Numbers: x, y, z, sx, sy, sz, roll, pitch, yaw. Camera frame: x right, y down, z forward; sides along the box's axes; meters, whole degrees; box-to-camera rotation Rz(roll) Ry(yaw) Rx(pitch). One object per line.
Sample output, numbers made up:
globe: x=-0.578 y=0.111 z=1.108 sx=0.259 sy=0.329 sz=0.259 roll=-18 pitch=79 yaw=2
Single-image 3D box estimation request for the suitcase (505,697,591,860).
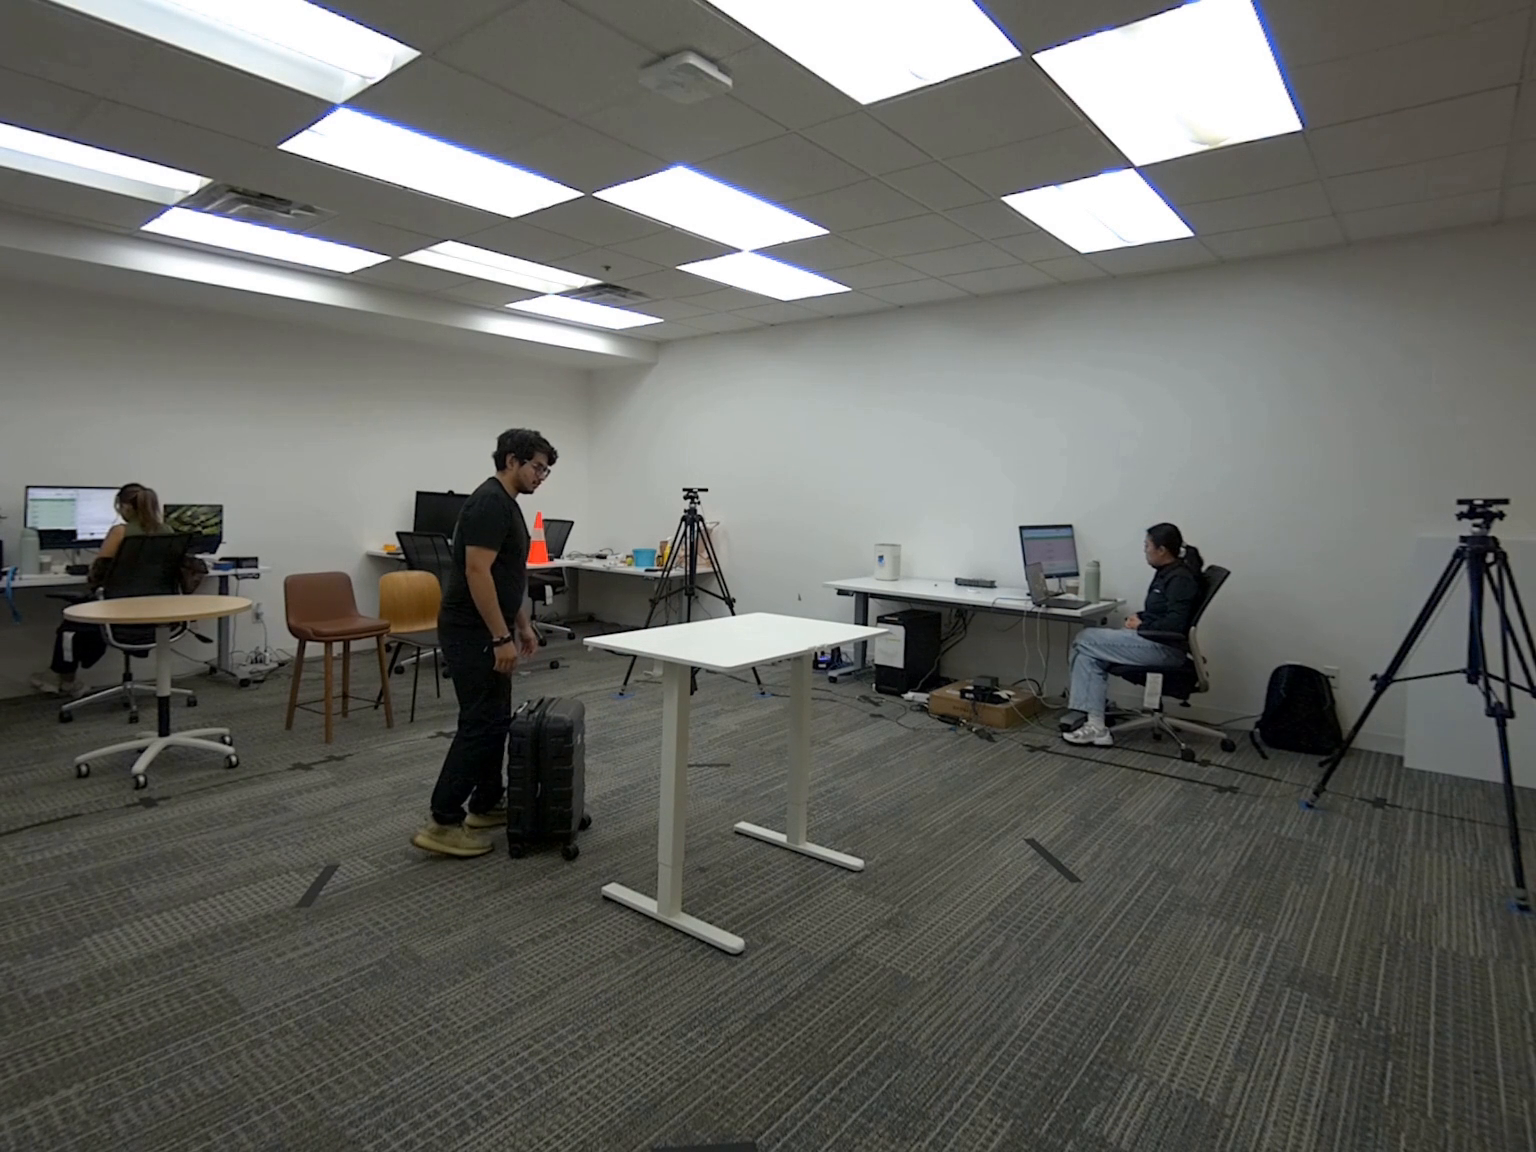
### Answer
suitcase: x=-0.874 y=0.762 z=3.322 sx=0.248 sy=0.548 sz=0.377 roll=-1 pitch=2 yaw=-2
